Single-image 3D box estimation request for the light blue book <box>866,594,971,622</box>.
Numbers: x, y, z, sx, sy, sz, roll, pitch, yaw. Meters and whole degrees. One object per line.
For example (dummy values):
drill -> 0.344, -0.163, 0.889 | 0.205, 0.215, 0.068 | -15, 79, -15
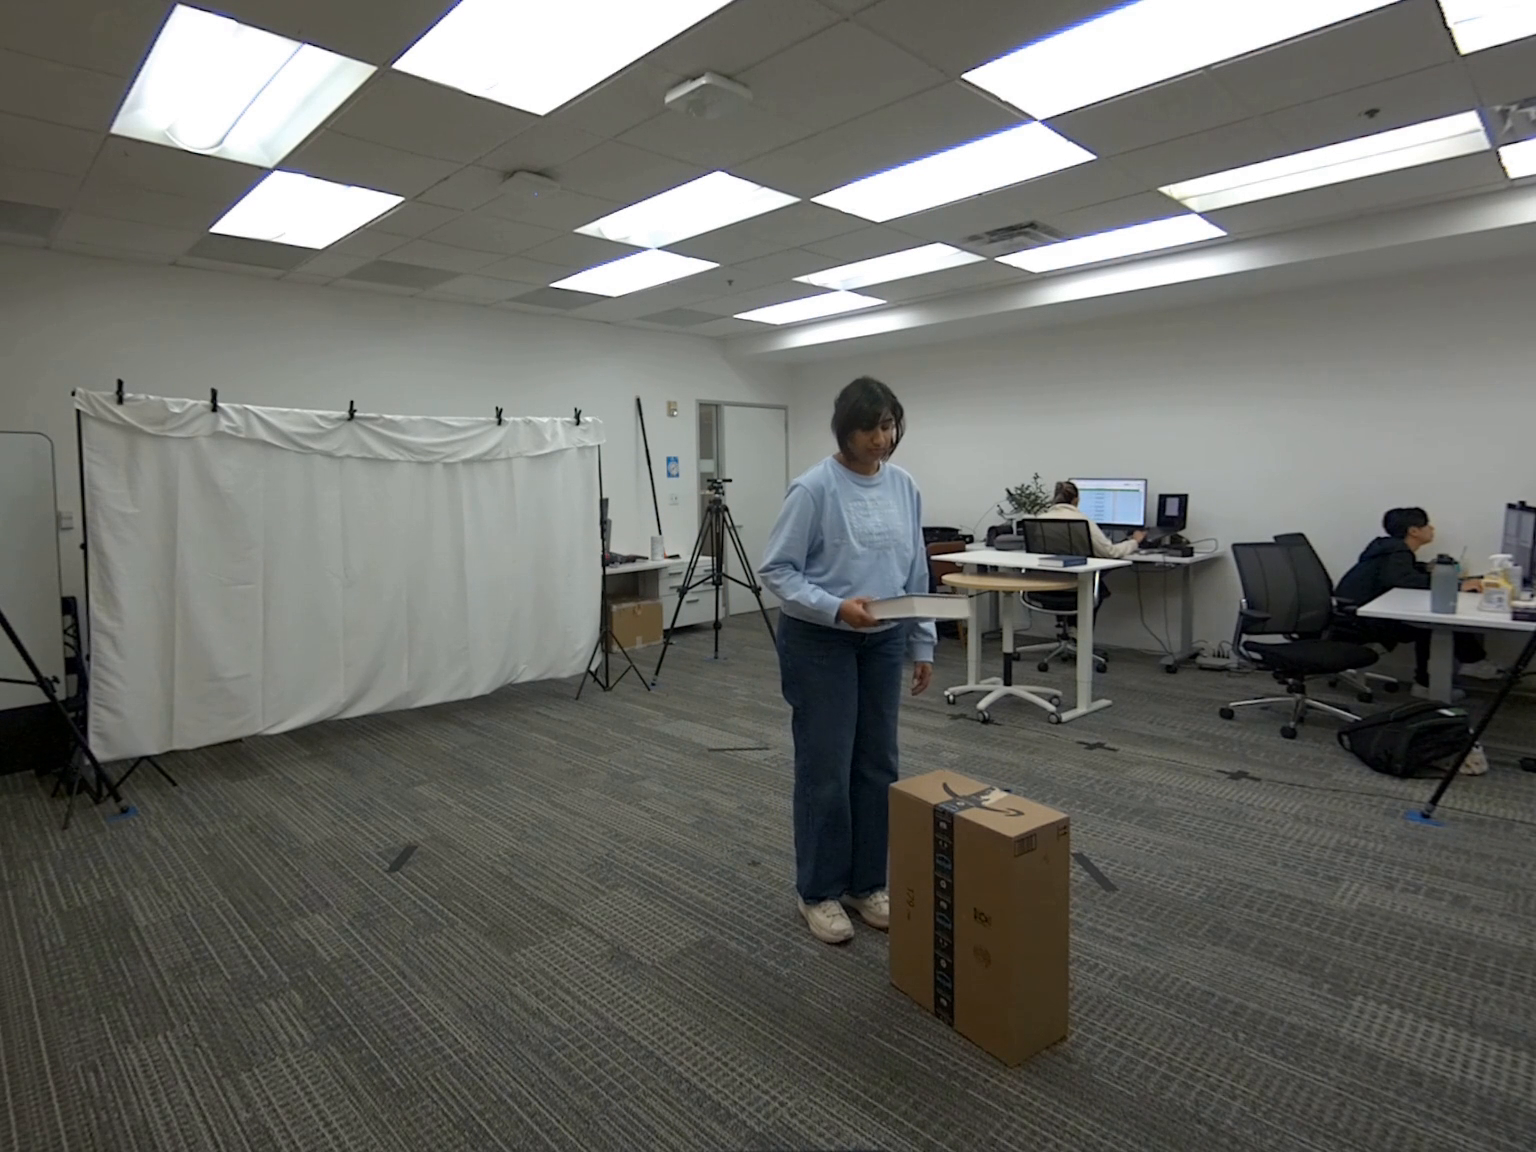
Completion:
light blue book -> 0.411, 0.097, 2.387 | 0.187, 0.059, 0.266 | 2, -6, -28
